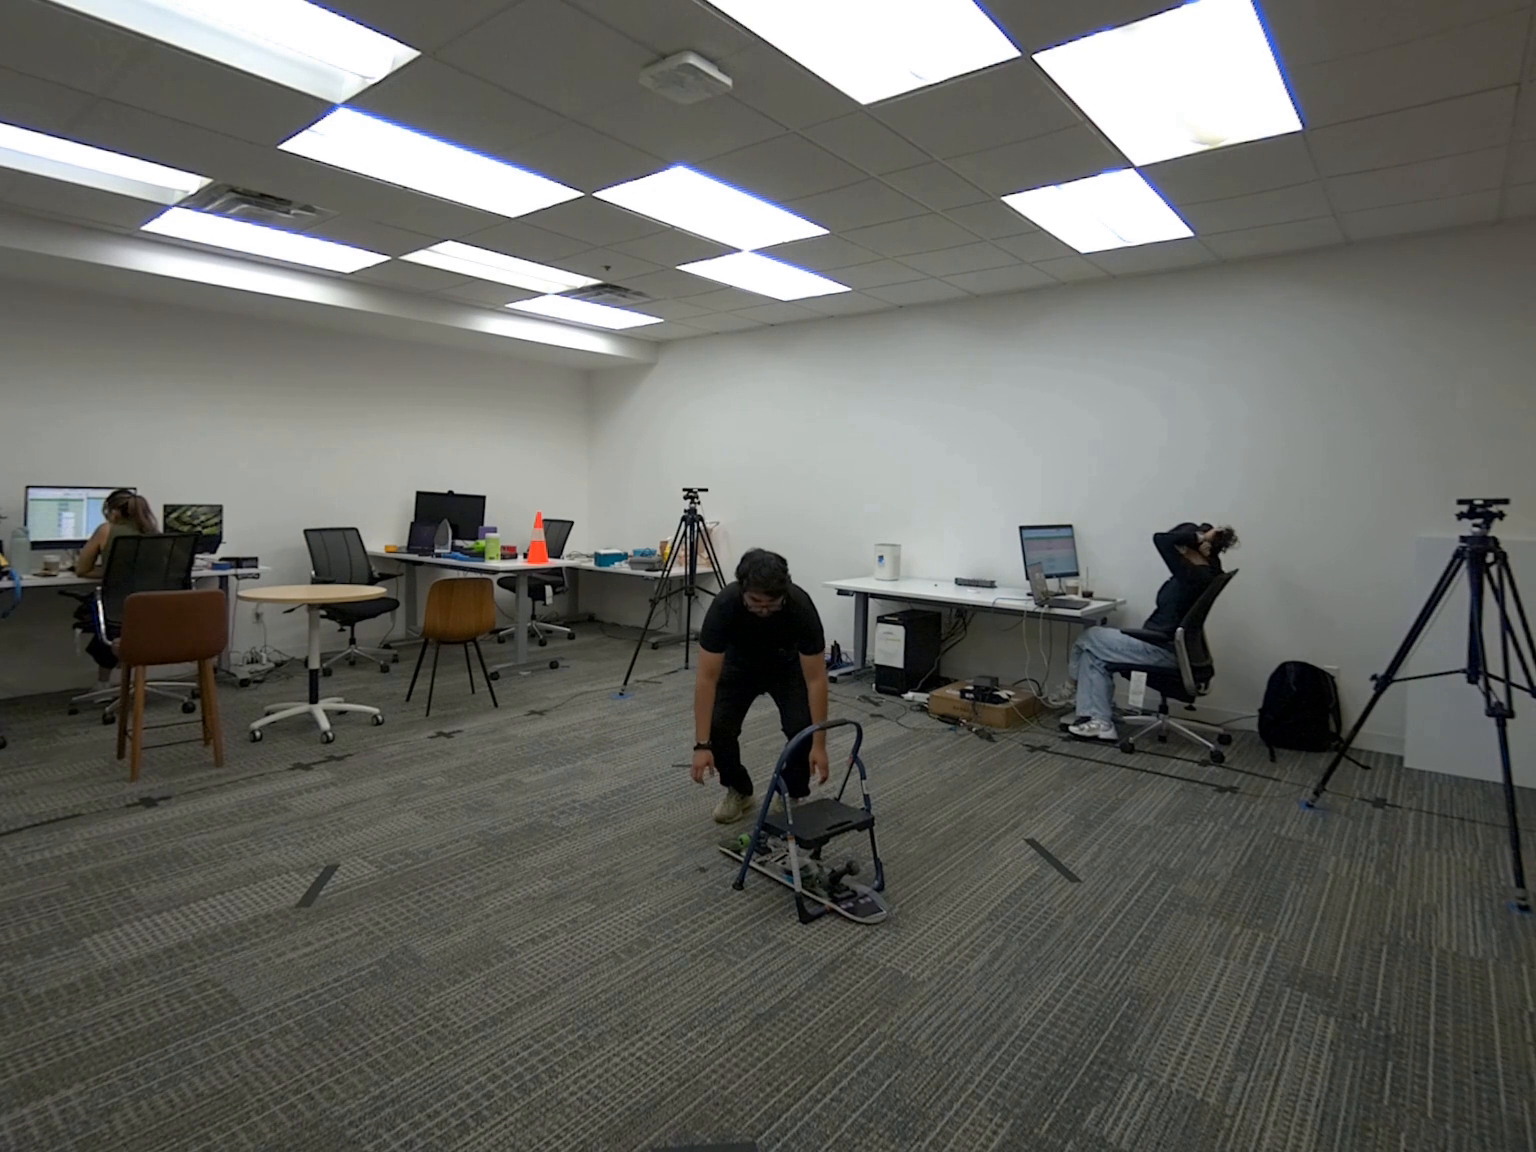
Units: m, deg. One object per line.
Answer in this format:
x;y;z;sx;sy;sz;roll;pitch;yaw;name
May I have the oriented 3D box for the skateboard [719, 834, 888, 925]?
0.102;1.033;3.065;0.188;0.110;0.812;-4;7;-42;skateboard
